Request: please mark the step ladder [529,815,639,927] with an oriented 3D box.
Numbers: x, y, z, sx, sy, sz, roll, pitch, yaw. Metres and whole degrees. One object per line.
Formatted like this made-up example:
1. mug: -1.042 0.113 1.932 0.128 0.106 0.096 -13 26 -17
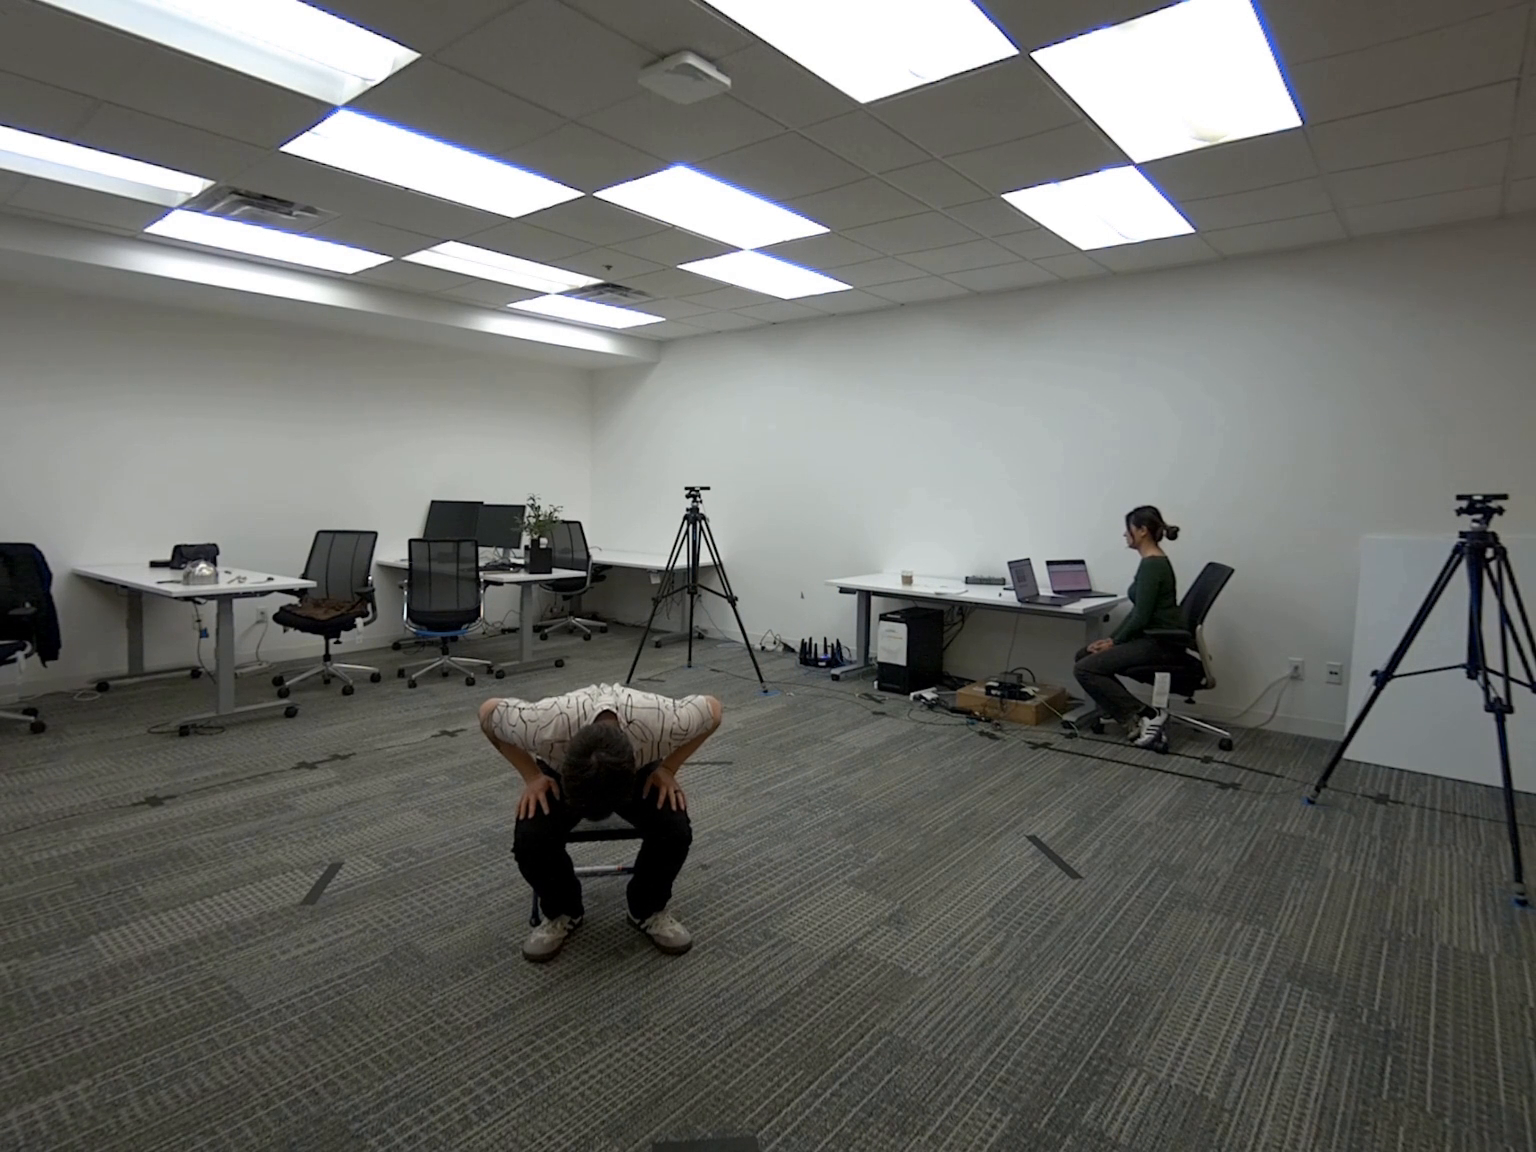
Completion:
1. step ladder: -0.585 0.784 2.881 0.425 0.604 0.355 0 3 -12
